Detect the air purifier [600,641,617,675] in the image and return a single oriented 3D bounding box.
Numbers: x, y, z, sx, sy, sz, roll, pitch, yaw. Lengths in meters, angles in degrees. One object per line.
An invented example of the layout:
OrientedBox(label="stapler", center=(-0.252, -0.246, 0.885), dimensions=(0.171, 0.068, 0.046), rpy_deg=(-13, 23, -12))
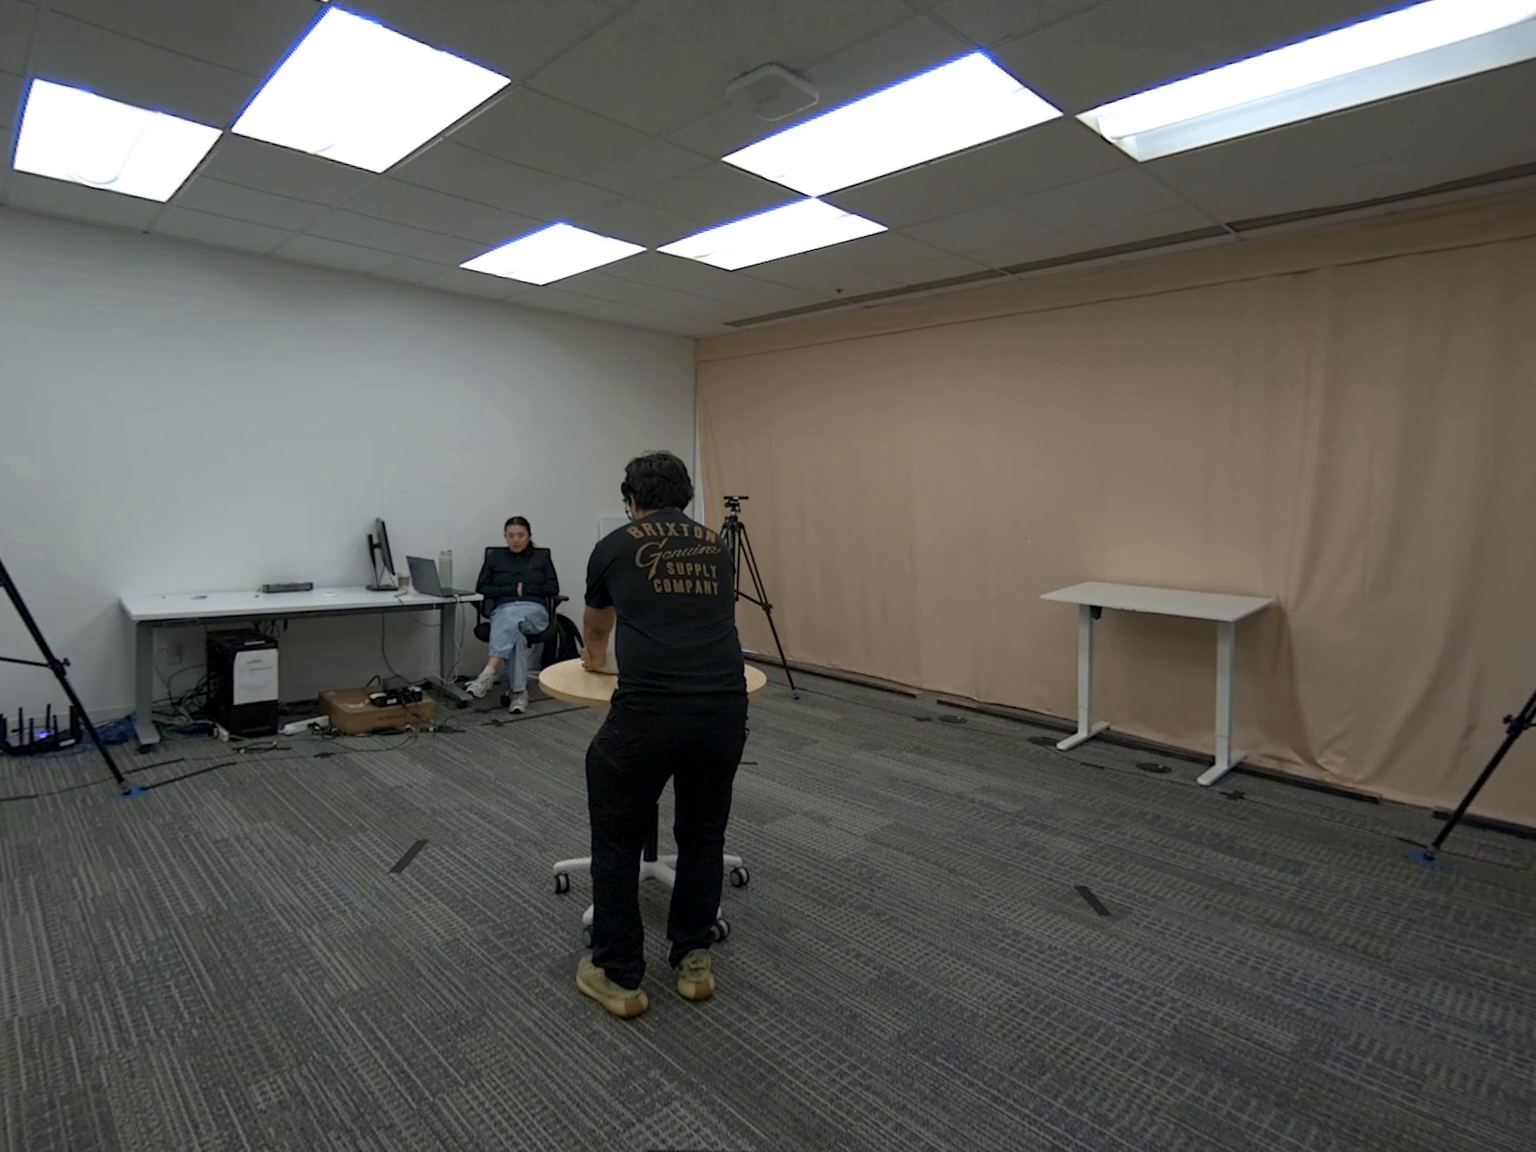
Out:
OrientedBox(label="air purifier", center=(-0.536, 0.196, 2.911), dimensions=(0.175, 0.265, 0.167), rpy_deg=(3, 4, 32))
